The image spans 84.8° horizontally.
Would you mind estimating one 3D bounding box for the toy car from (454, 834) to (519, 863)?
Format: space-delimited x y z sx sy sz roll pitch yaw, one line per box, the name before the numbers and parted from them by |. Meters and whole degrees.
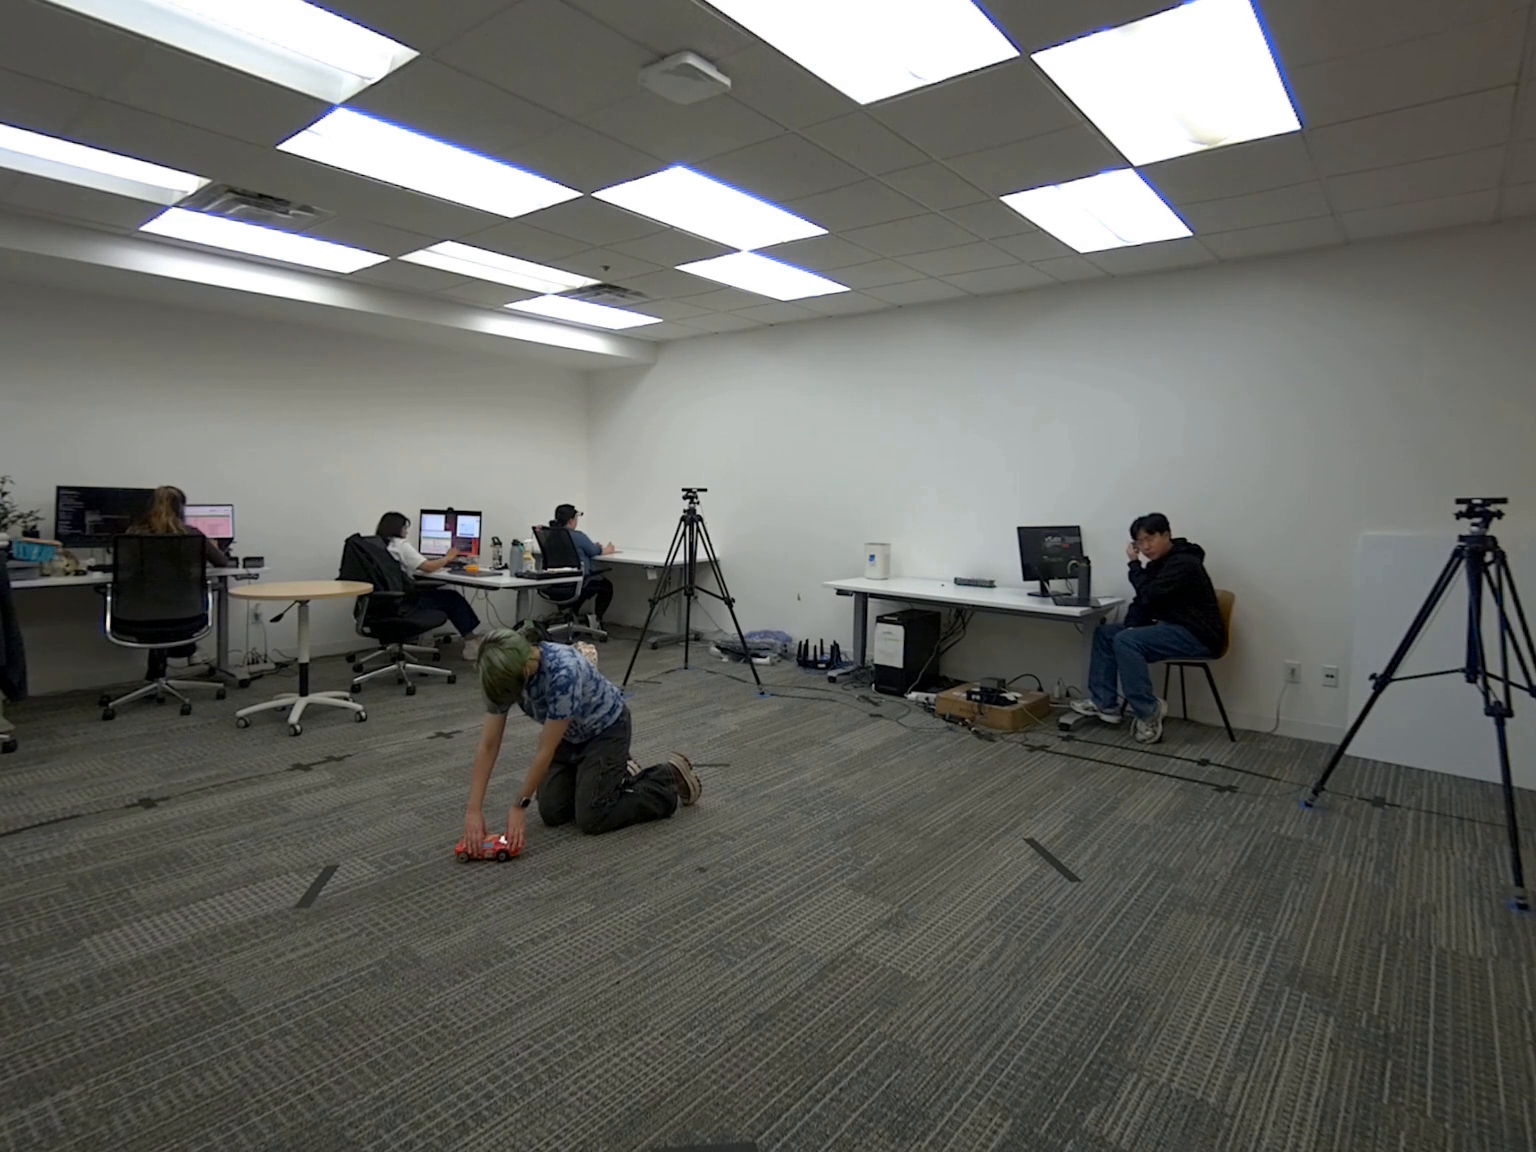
toy car | -1.058 1.023 3.191 0.254 0.083 0.131 -8 7 -2
